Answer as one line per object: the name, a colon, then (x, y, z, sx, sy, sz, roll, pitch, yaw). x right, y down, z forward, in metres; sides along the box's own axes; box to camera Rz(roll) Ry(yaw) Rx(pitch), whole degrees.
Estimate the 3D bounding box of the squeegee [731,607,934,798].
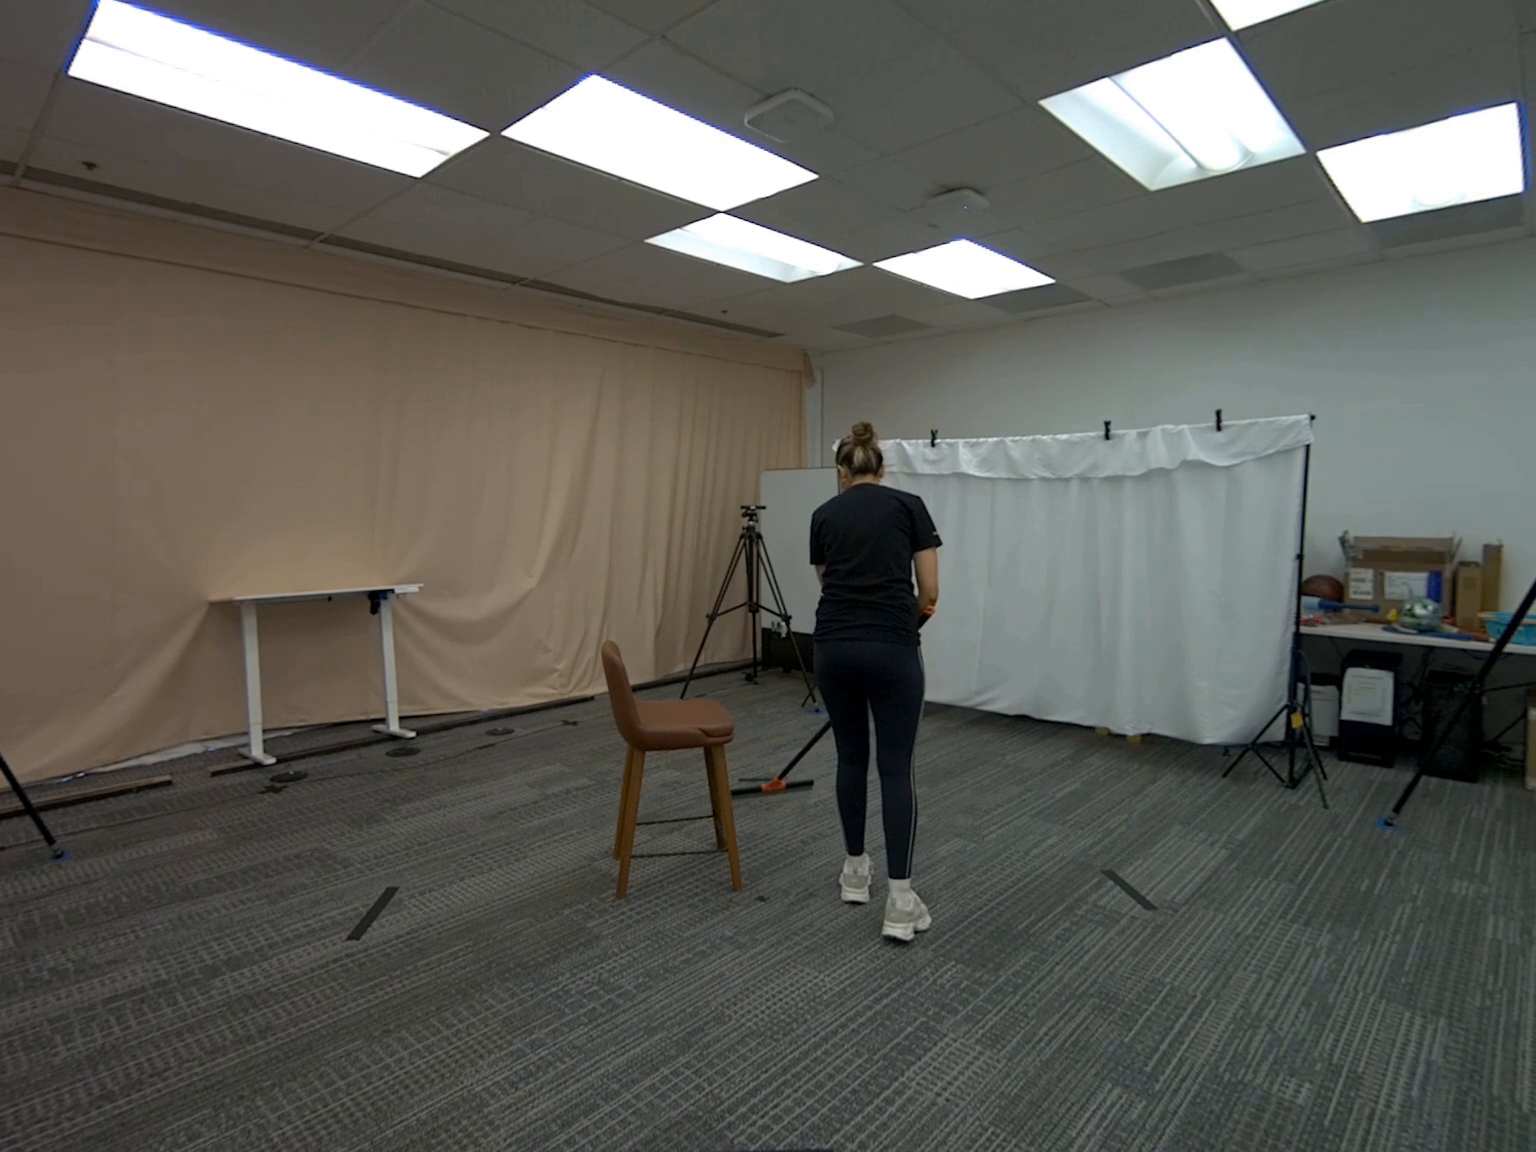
squeegee: (0.301, 0.547, 3.449, 0.427, 0.054, 1.537, 2, -37, -26)
